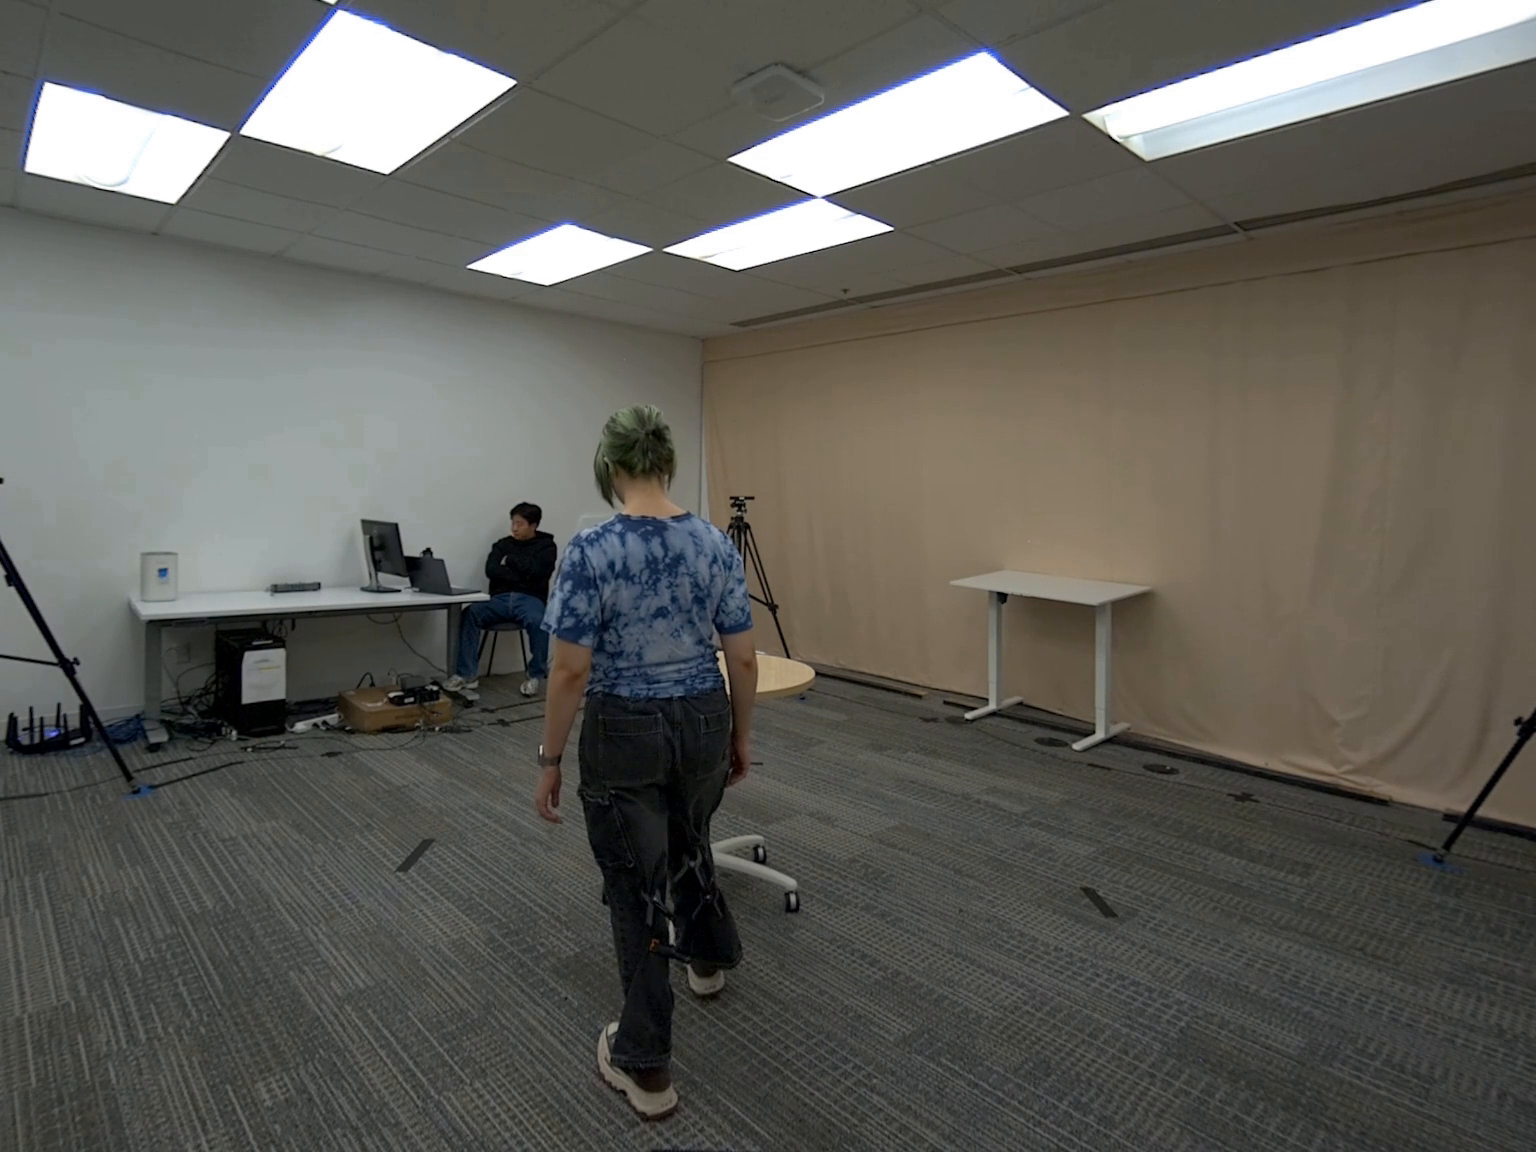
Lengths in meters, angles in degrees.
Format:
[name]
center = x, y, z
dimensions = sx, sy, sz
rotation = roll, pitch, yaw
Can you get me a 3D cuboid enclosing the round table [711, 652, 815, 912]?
[round table]
center = -0.229, 0.727, 2.968
dimensions = 0.763, 0.792, 0.766
rotation = 1, 4, -1
